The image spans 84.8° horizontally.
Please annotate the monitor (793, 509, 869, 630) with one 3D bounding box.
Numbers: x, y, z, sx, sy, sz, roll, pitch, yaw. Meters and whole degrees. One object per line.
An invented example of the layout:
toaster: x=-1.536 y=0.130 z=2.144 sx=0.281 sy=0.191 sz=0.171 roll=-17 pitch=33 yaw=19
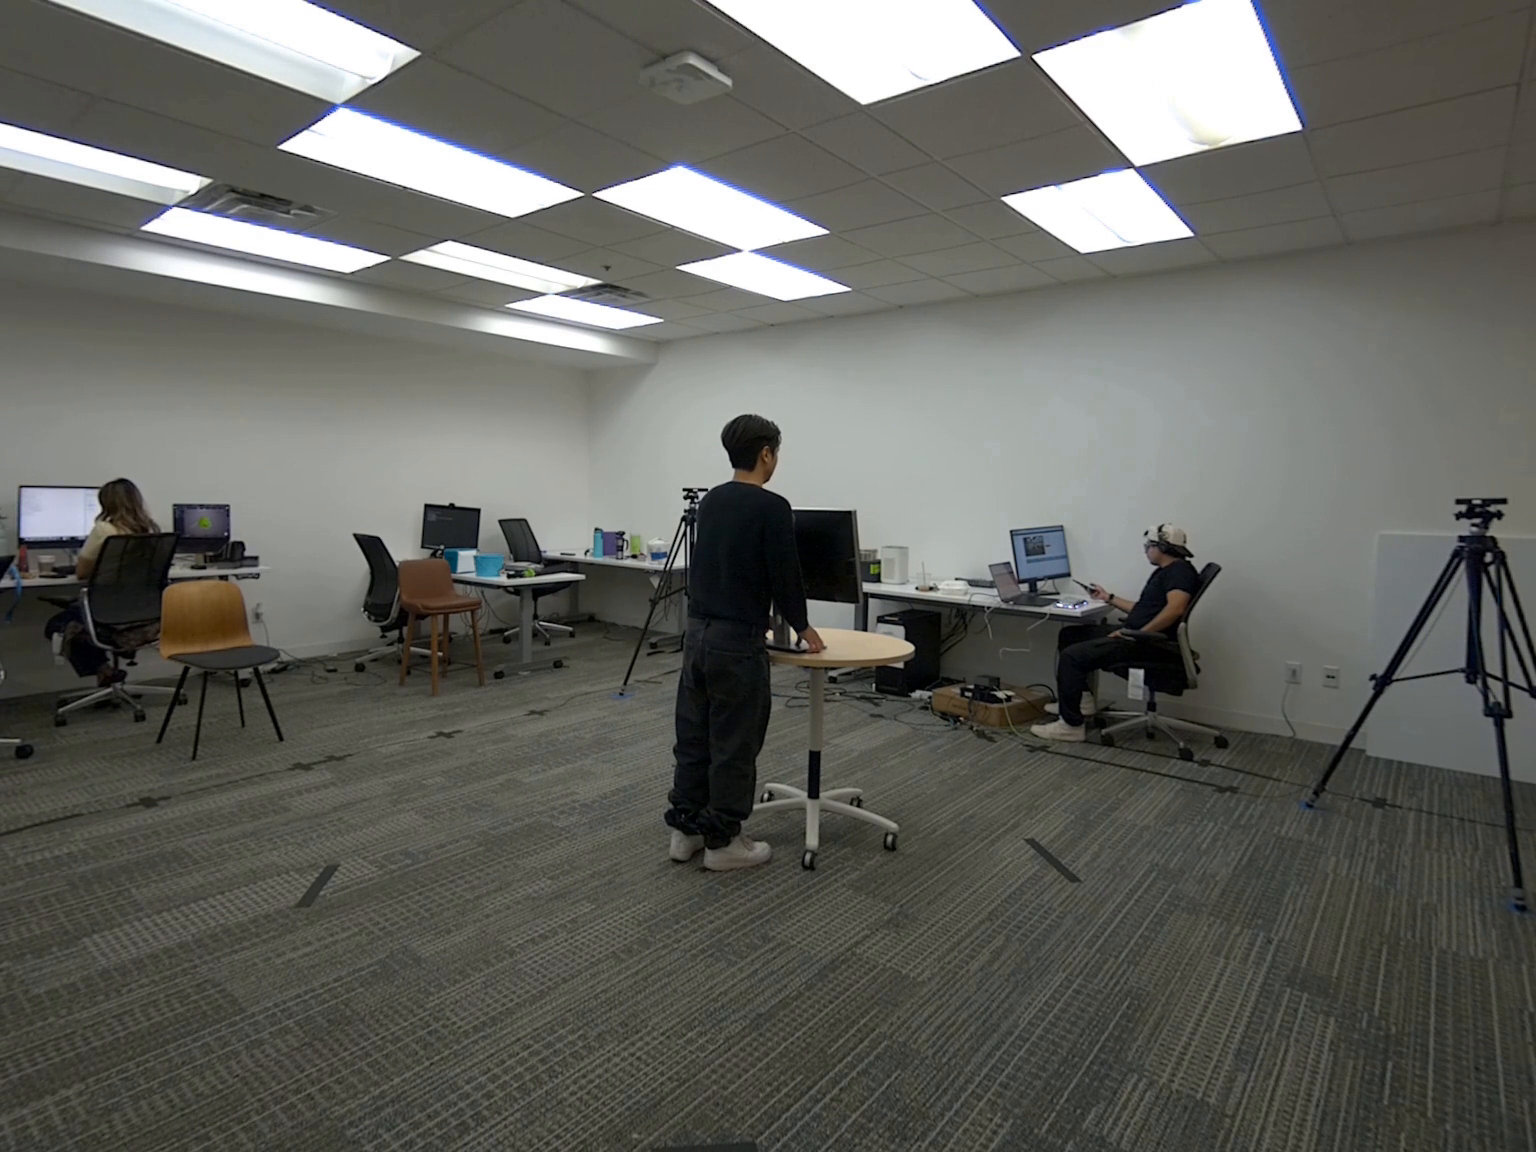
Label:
monitor: x=0.082 y=0.008 z=3.300 sx=0.556 sy=0.522 sz=0.181 roll=3 pitch=2 yaw=36
